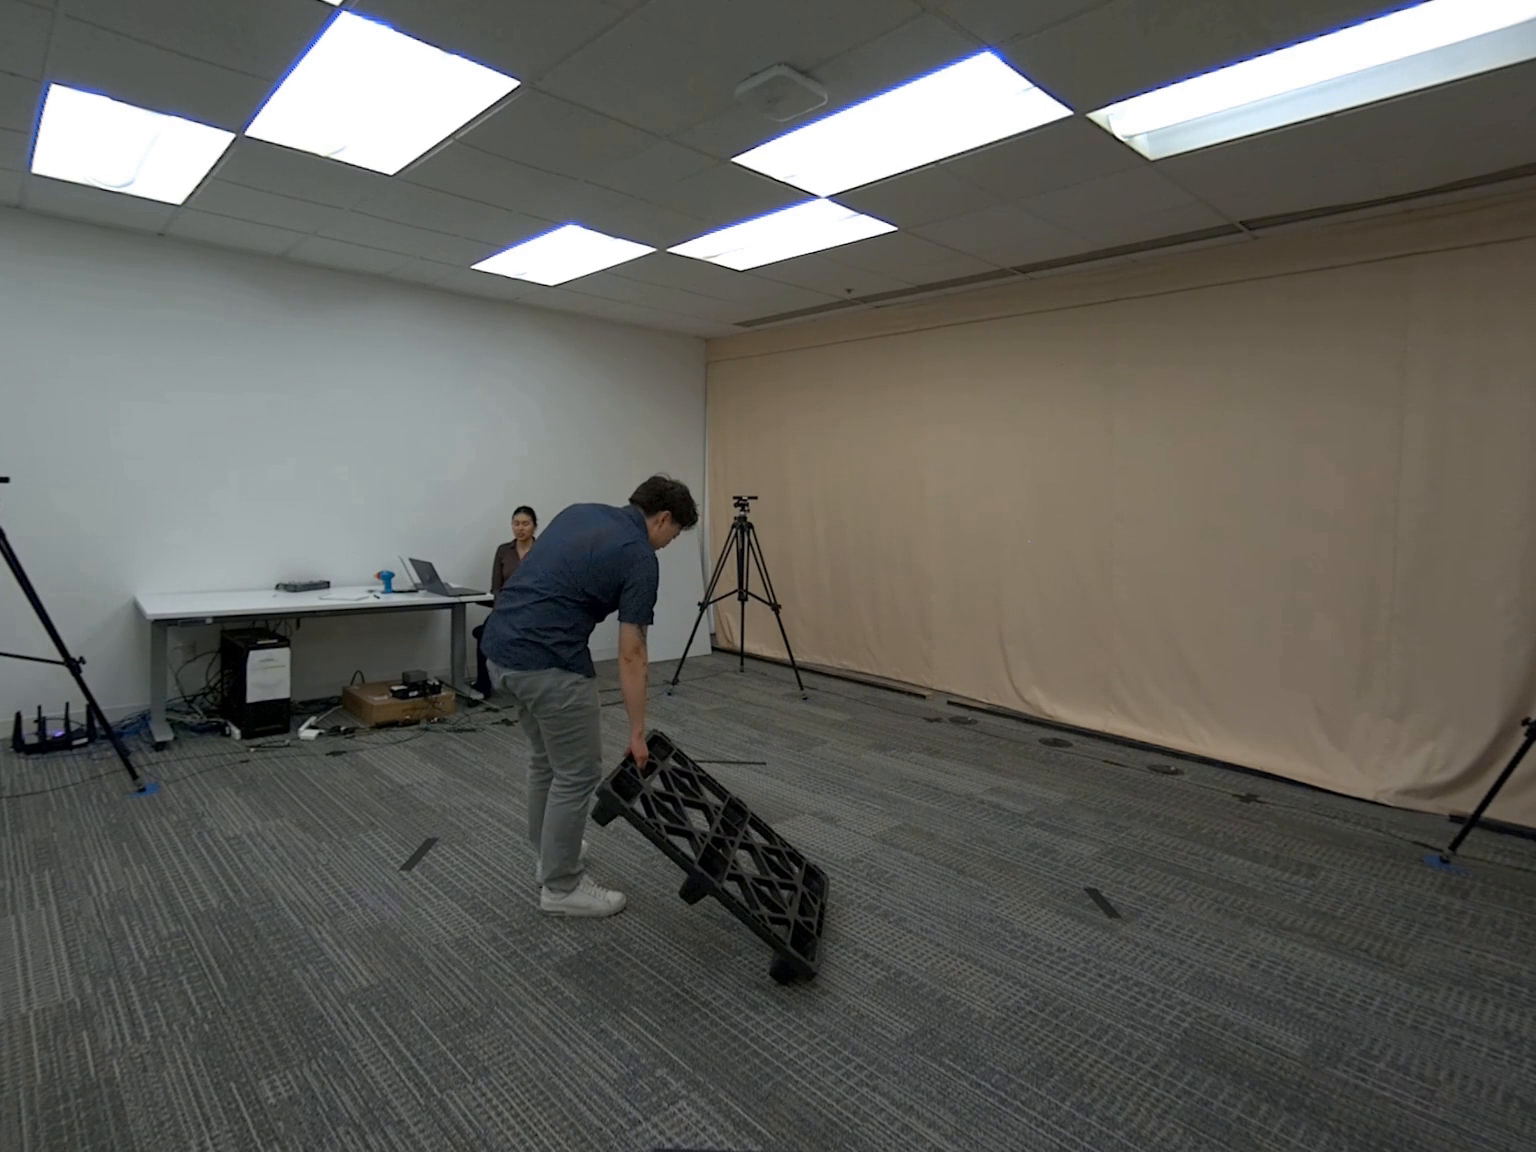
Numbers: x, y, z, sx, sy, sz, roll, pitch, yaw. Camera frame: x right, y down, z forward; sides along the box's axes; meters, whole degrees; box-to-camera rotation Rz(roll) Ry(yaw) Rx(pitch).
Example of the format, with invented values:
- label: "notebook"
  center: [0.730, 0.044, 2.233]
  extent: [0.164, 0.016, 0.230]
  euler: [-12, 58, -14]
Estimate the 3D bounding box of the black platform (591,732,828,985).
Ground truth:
- label: "black platform"
  center: [-0.172, 0.873, 2.652]
  extent: [0.810, 0.143, 0.602]
  euler: [40, 10, 4]
